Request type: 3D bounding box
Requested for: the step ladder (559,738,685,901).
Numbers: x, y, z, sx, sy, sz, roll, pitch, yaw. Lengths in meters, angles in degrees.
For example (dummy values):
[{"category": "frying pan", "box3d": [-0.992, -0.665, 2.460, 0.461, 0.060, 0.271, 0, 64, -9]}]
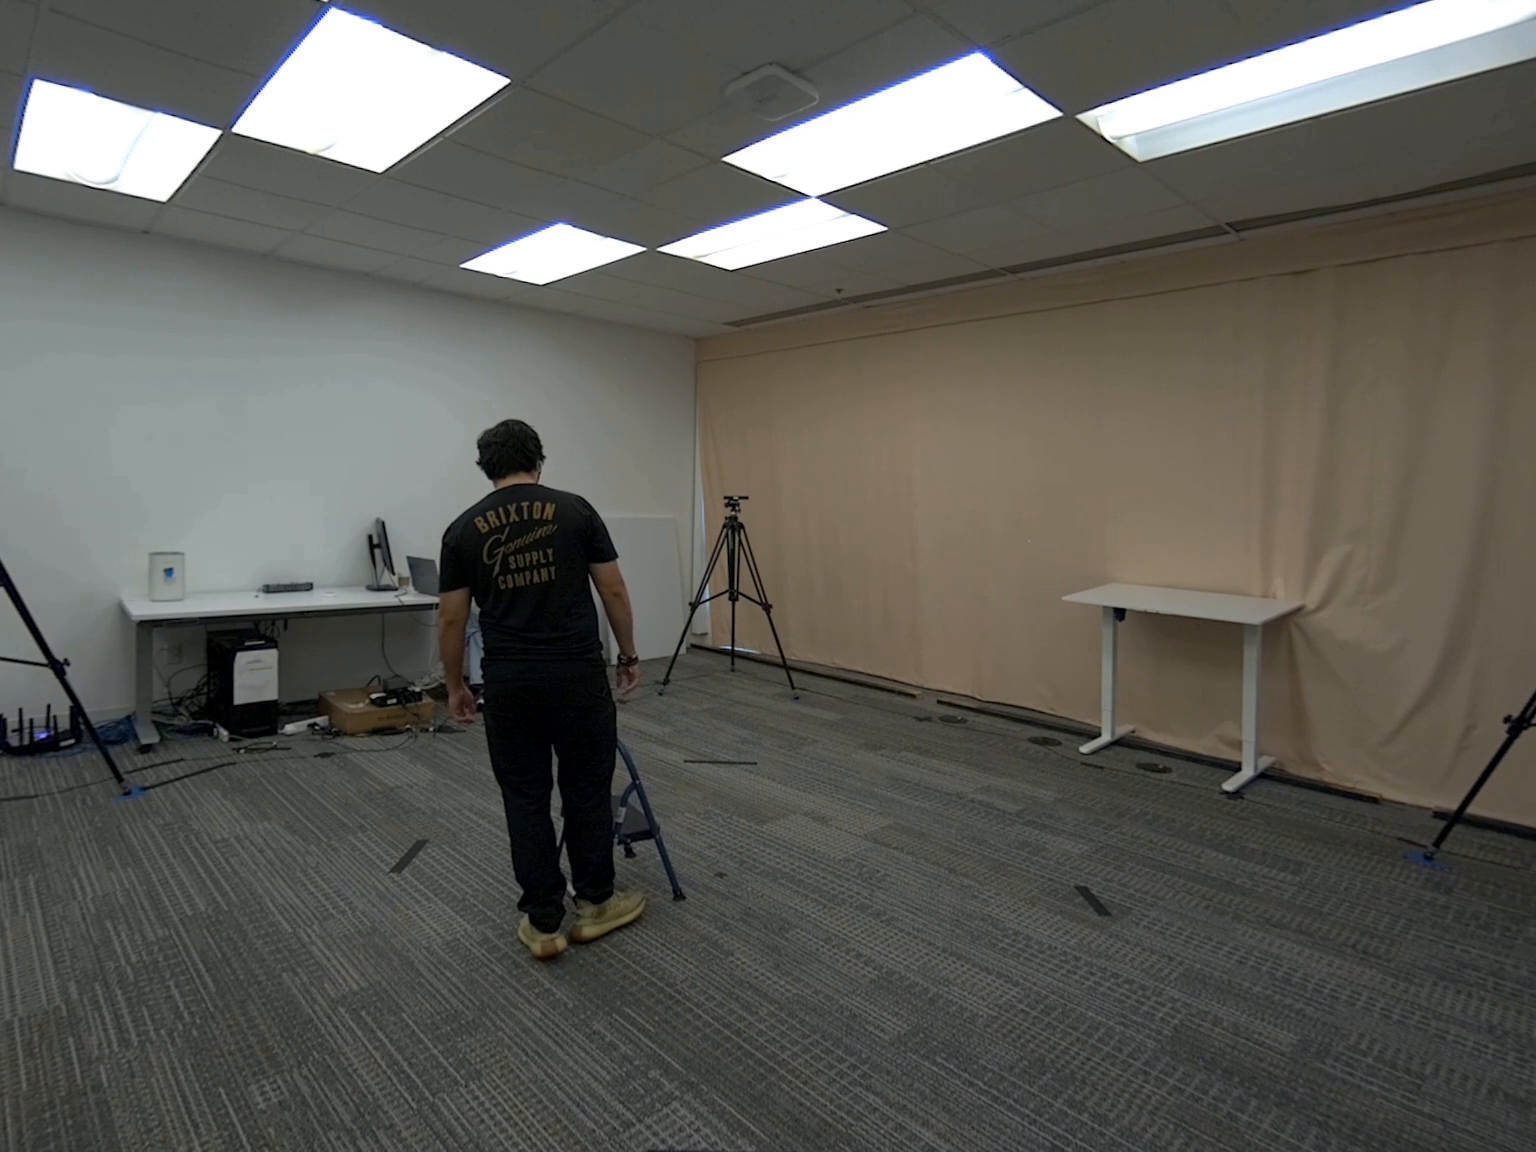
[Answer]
[{"category": "step ladder", "box3d": [-0.536, 0.805, 2.983, 0.342, 0.604, 0.441, -1, 5, -33]}]
